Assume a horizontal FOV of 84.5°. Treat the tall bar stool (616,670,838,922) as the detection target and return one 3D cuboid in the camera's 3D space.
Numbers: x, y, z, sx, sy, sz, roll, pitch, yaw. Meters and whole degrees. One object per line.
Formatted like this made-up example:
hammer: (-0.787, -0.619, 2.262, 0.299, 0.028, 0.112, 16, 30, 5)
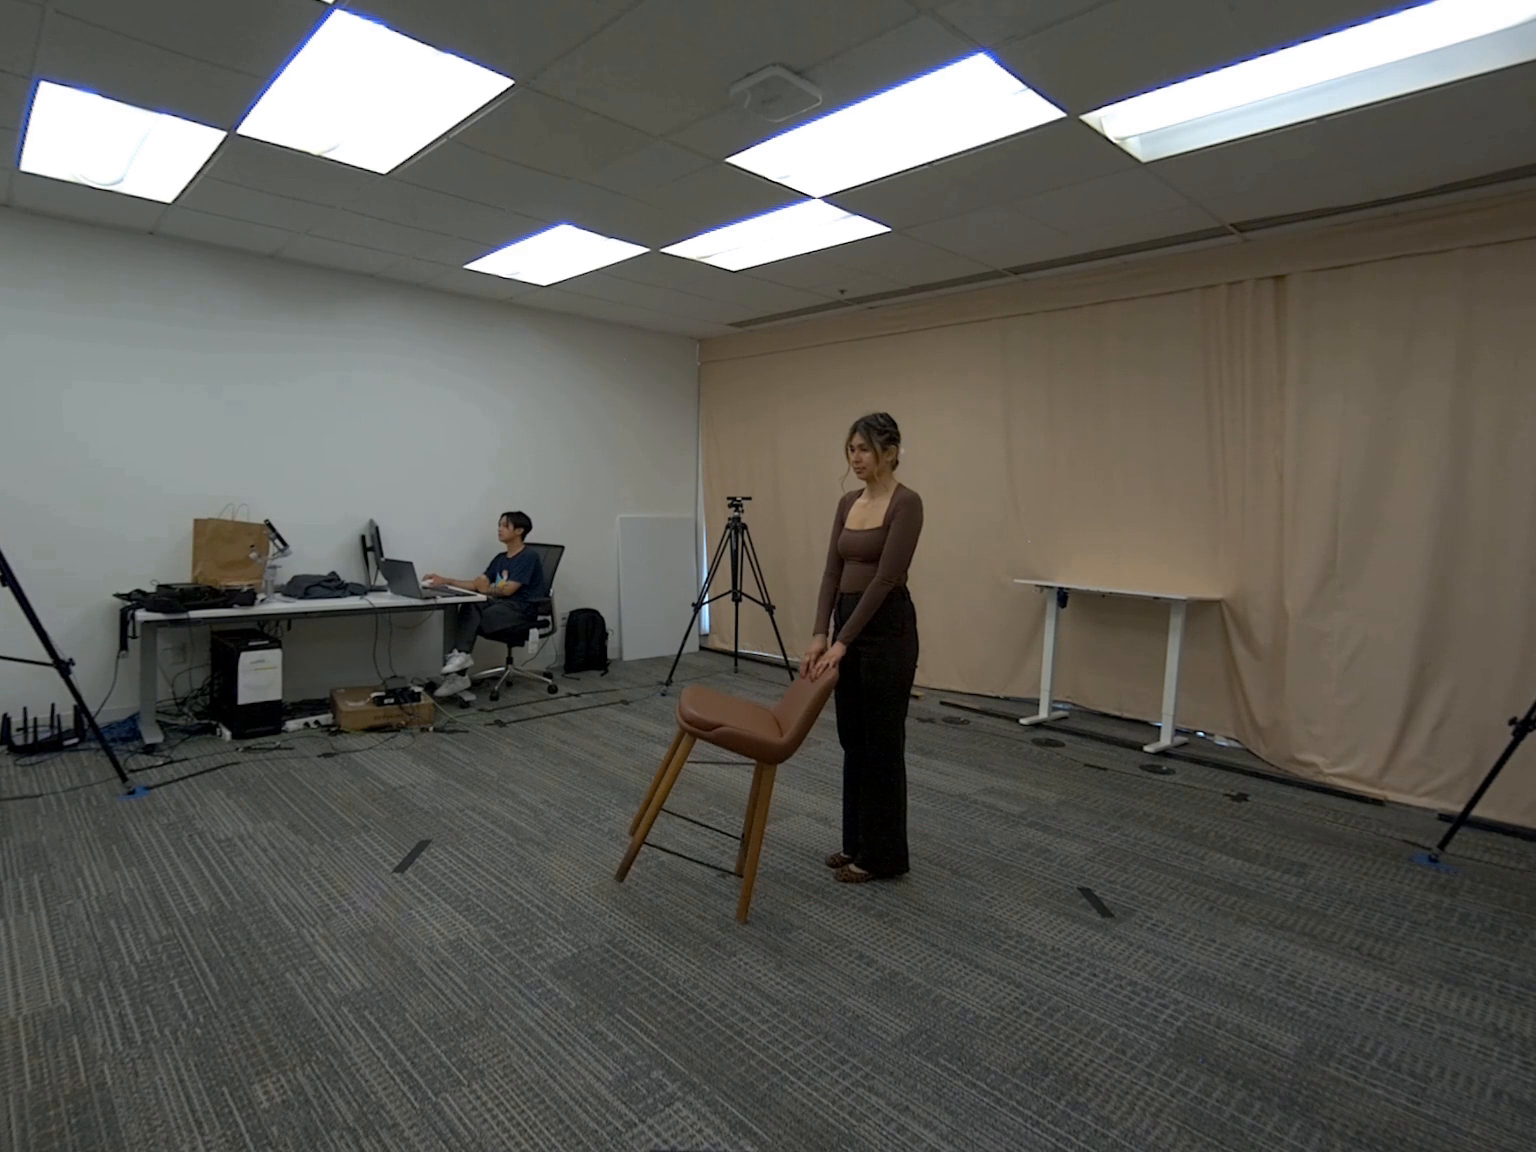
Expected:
tall bar stool: (-0.143, 0.645, 2.902, 0.467, 0.888, 0.458, 21, 3, -2)
